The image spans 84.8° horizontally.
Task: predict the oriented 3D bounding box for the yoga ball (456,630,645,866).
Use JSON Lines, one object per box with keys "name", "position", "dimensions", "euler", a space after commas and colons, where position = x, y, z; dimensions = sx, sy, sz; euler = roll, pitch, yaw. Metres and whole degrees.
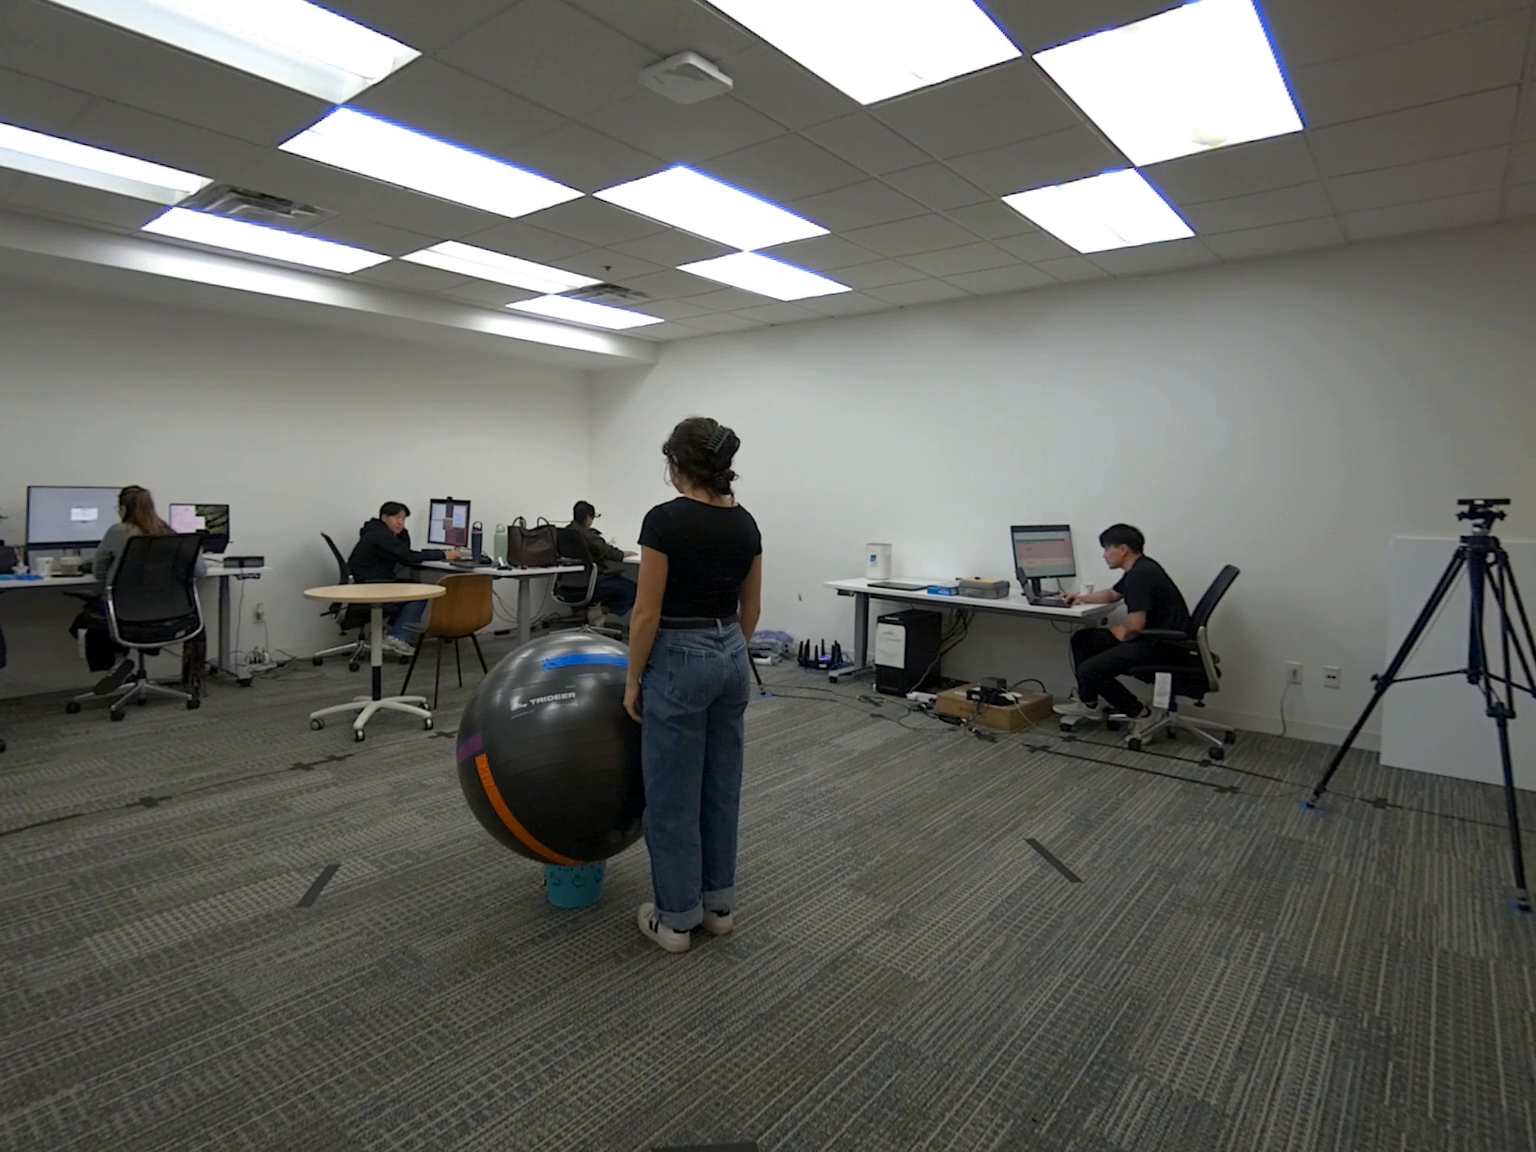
{"name": "yoga ball", "position": [-0.685, 0.575, 2.872], "dimensions": [0.757, 0.755, 0.762], "euler": [1, 4, -2]}
